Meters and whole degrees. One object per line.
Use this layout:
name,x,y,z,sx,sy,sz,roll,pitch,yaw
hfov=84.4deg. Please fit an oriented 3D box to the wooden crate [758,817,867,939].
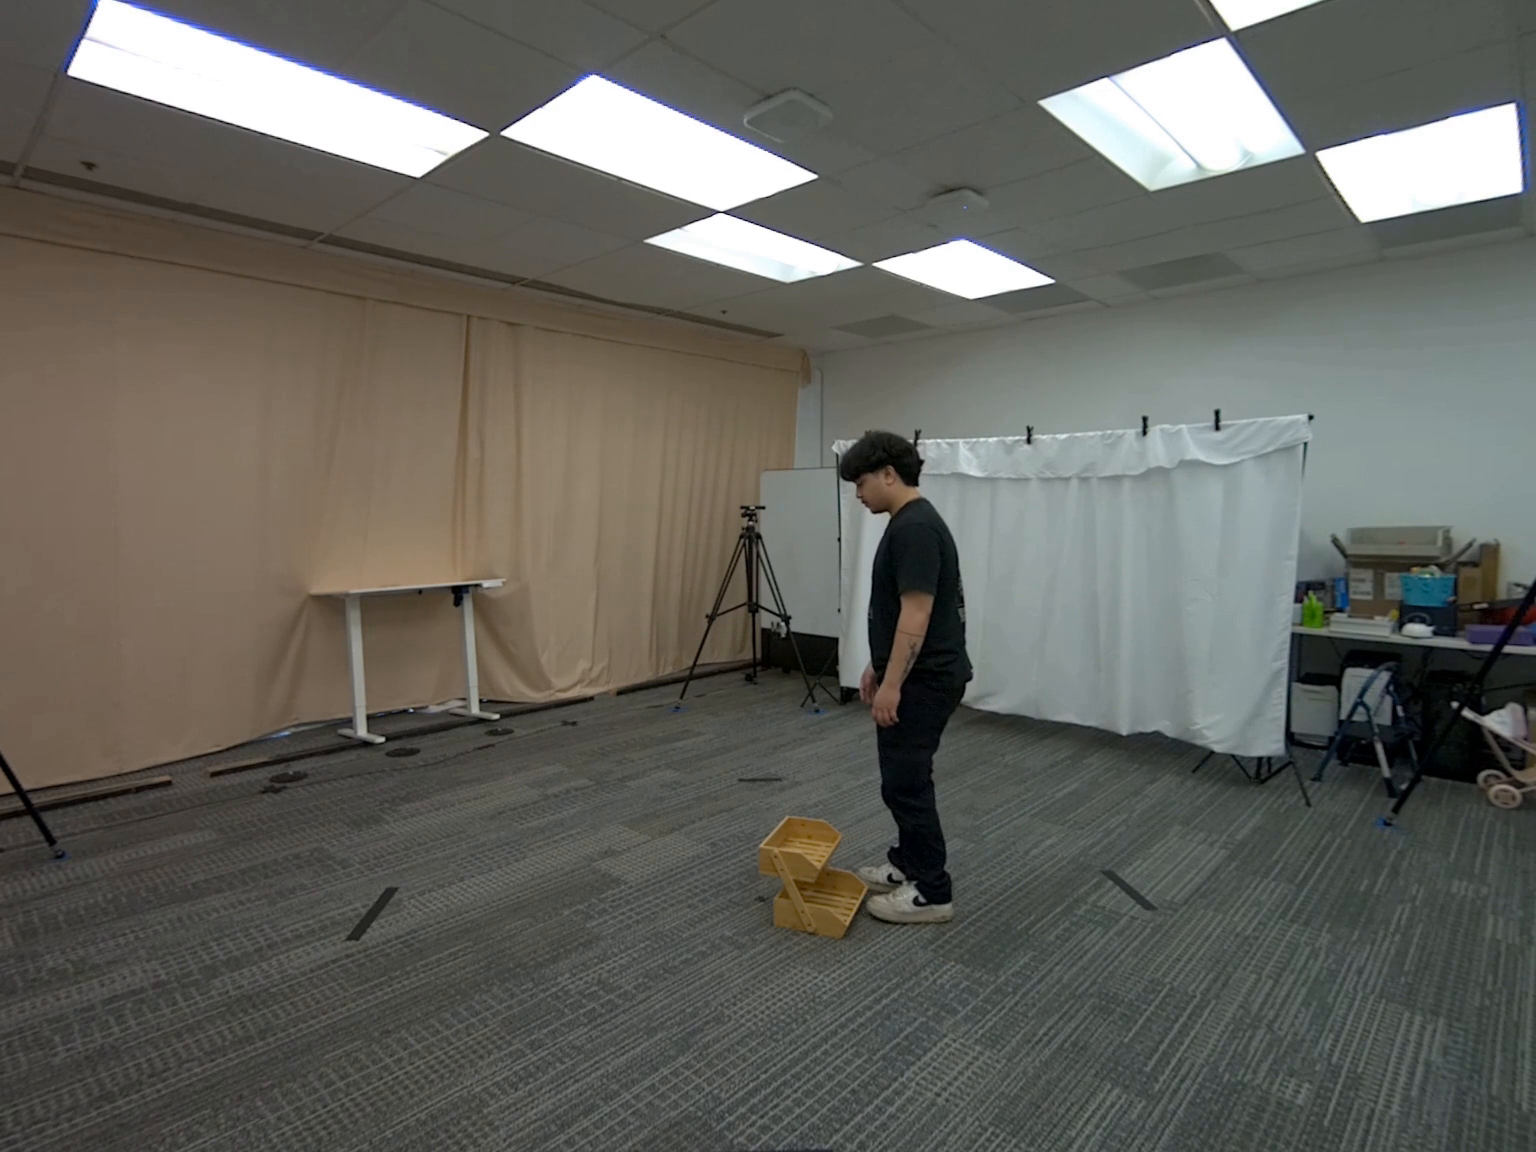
wooden crate,0.173,1.028,2.885,0.309,0.273,0.318,1,4,21
